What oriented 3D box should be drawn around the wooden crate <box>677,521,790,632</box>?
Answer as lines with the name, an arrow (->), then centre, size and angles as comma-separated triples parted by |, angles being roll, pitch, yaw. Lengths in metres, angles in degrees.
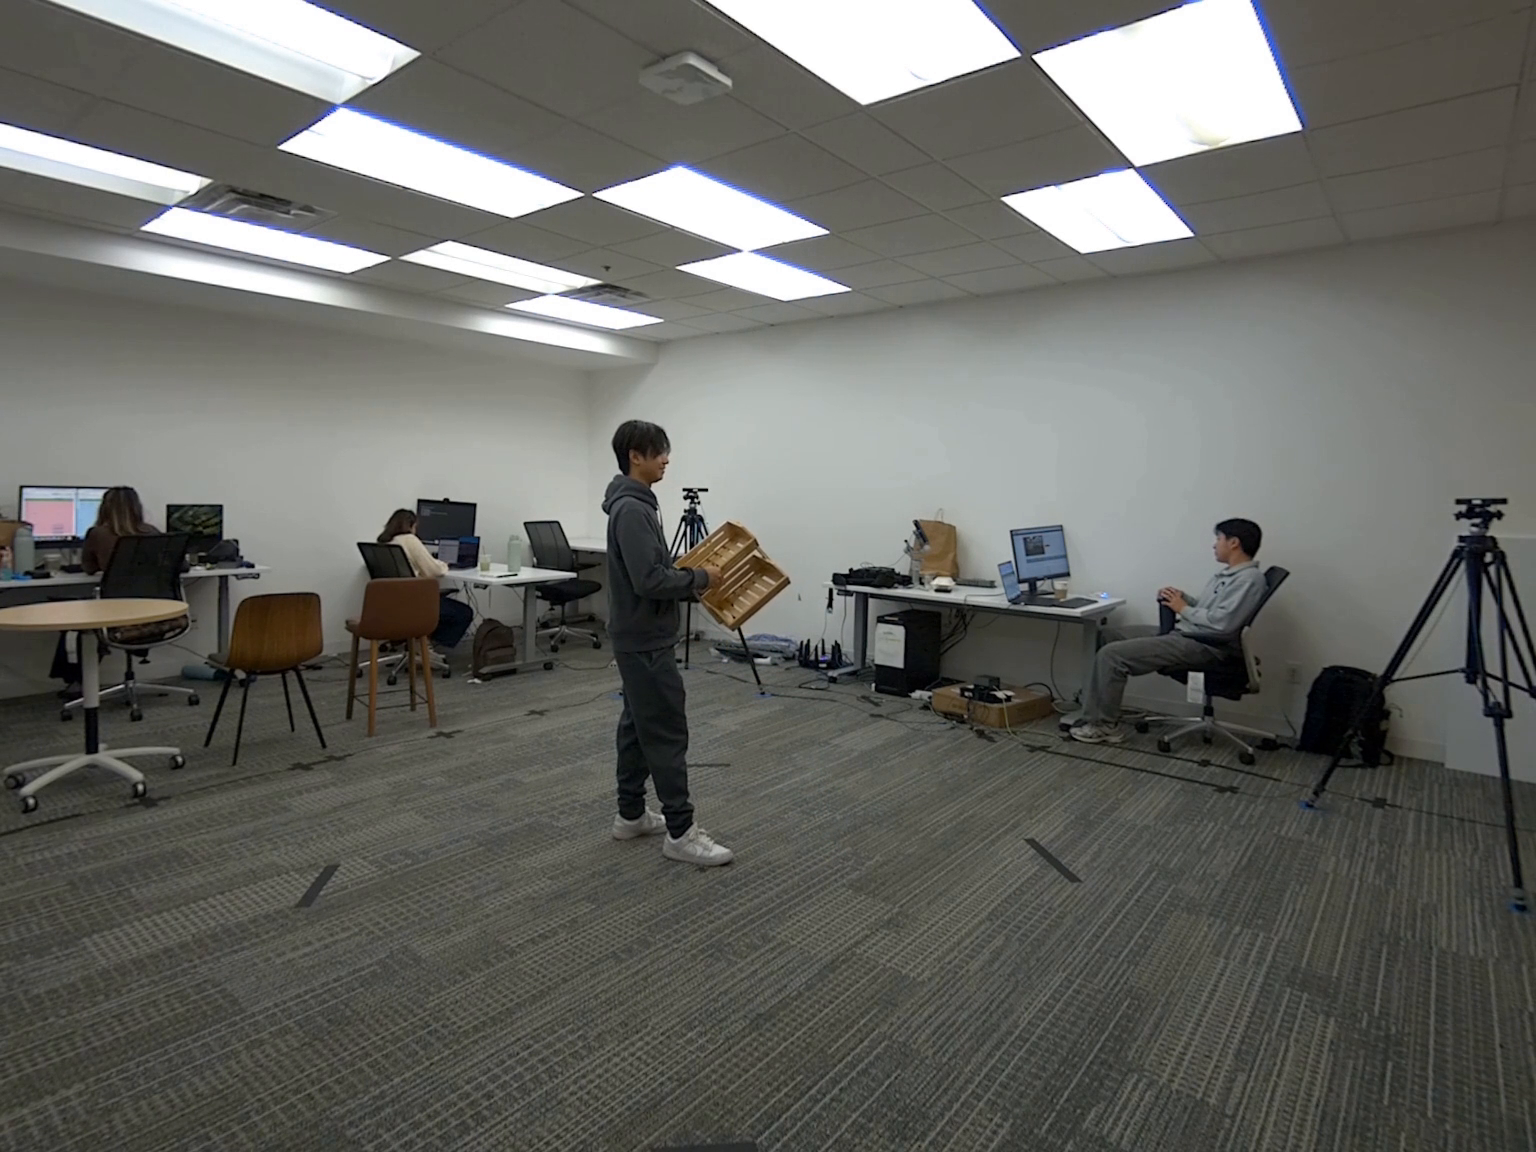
wooden crate -> -0.150, -0.010, 3.368 | 0.323, 0.265, 0.312 | -40, 27, -12
